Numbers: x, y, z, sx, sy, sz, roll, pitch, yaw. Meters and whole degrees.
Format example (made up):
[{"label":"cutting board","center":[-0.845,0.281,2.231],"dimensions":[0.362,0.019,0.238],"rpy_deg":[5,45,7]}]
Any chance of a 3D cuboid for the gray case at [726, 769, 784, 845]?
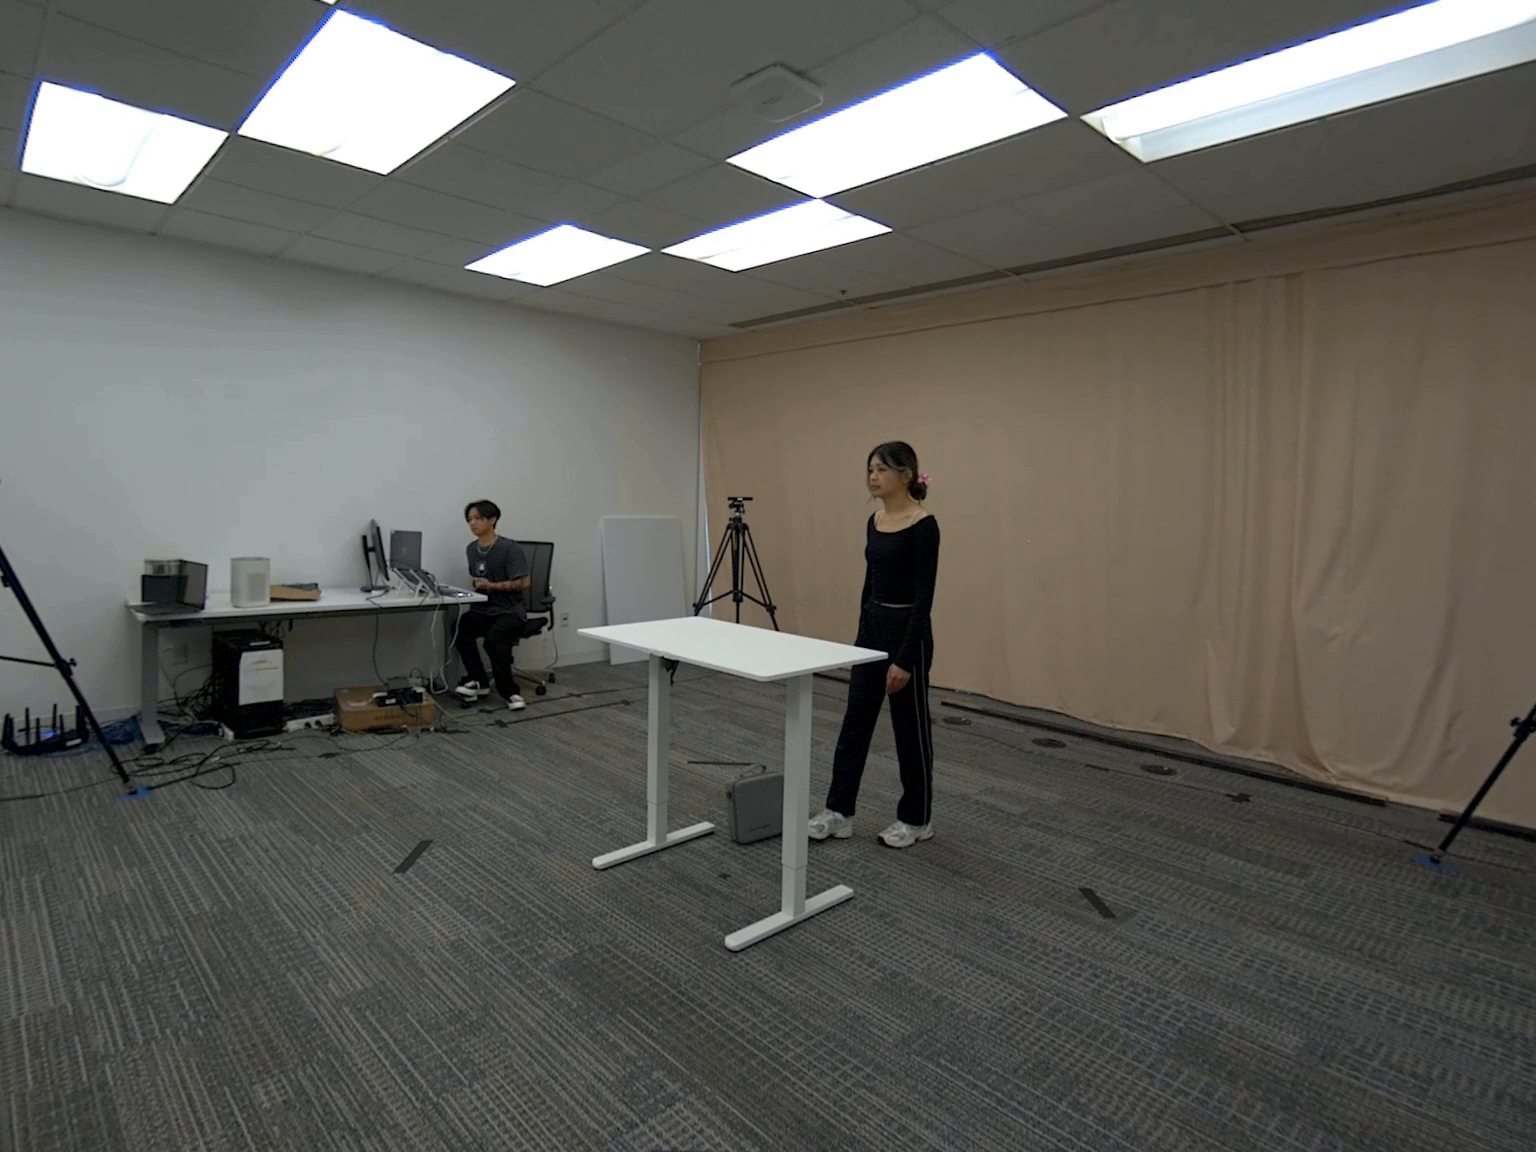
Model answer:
[{"label":"gray case","center":[-0.048,0.941,3.473],"dimensions":[0.251,0.262,0.106],"rpy_deg":[-2,-6,-32]}]
